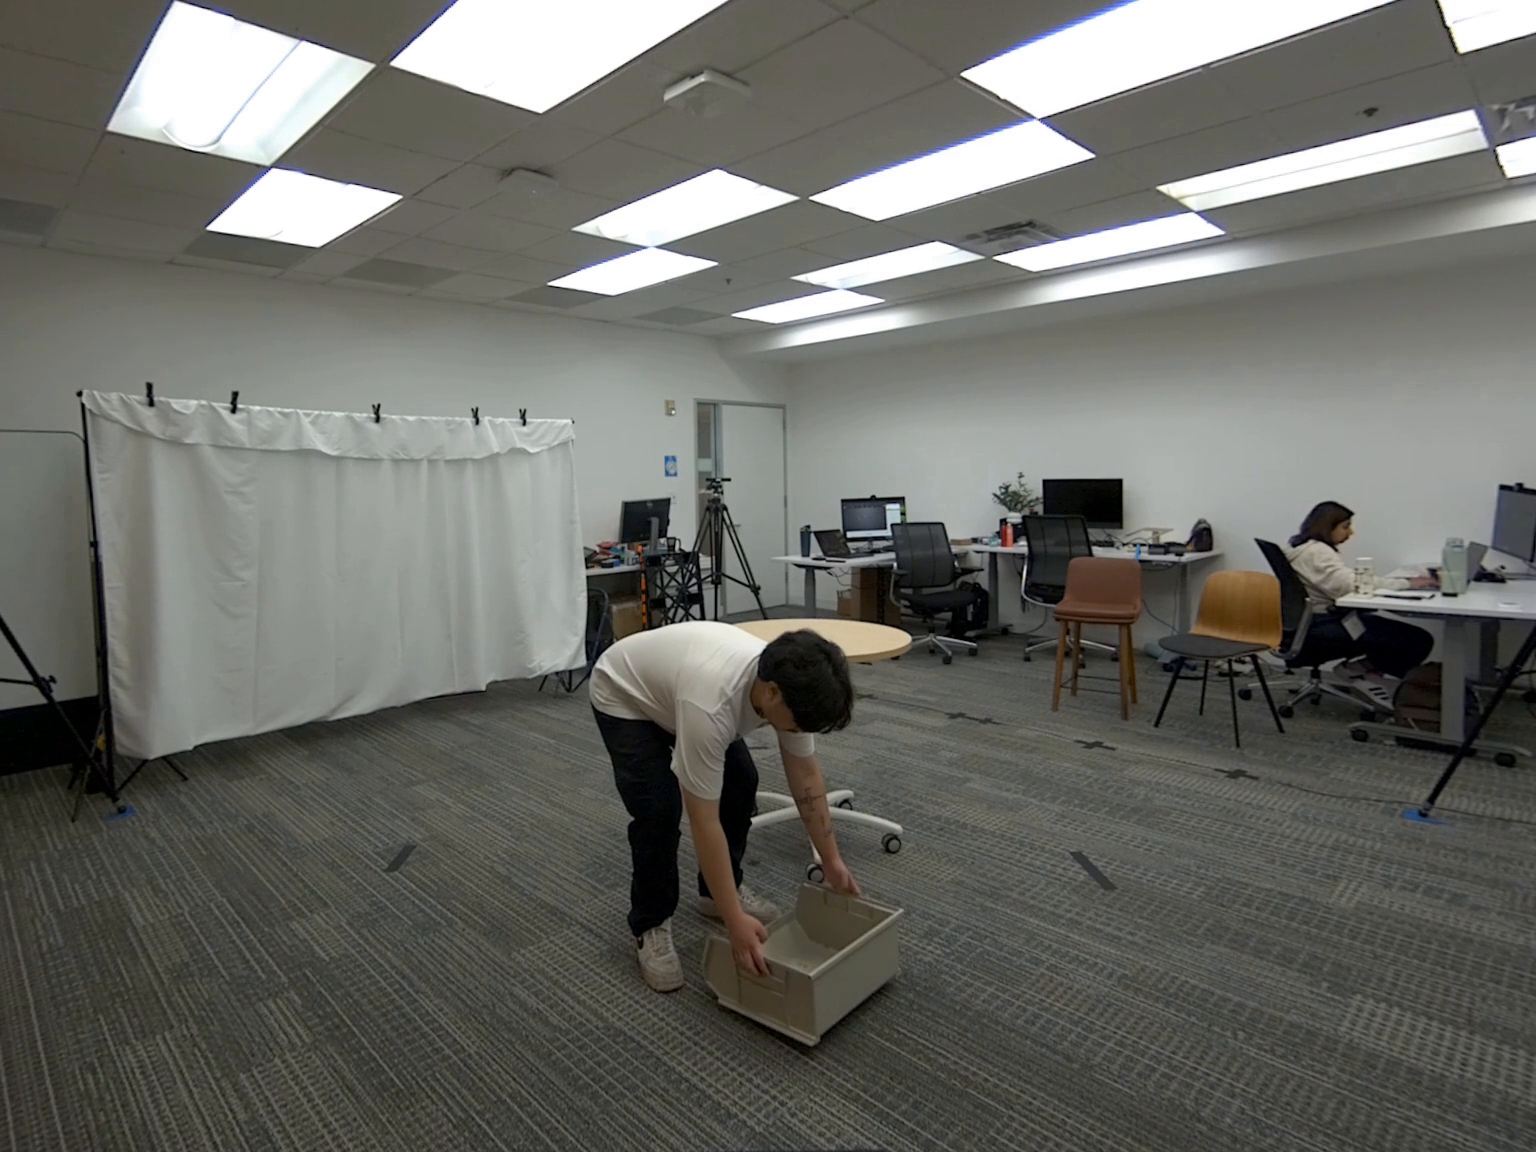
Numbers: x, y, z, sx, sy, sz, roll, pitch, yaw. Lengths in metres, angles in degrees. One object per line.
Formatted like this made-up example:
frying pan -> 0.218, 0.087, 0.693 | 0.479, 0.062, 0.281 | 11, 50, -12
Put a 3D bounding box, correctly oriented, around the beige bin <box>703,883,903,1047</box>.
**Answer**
beige bin -> 0.091, 1.017, 2.312 | 0.388, 0.188, 0.411 | 2, 5, 42
